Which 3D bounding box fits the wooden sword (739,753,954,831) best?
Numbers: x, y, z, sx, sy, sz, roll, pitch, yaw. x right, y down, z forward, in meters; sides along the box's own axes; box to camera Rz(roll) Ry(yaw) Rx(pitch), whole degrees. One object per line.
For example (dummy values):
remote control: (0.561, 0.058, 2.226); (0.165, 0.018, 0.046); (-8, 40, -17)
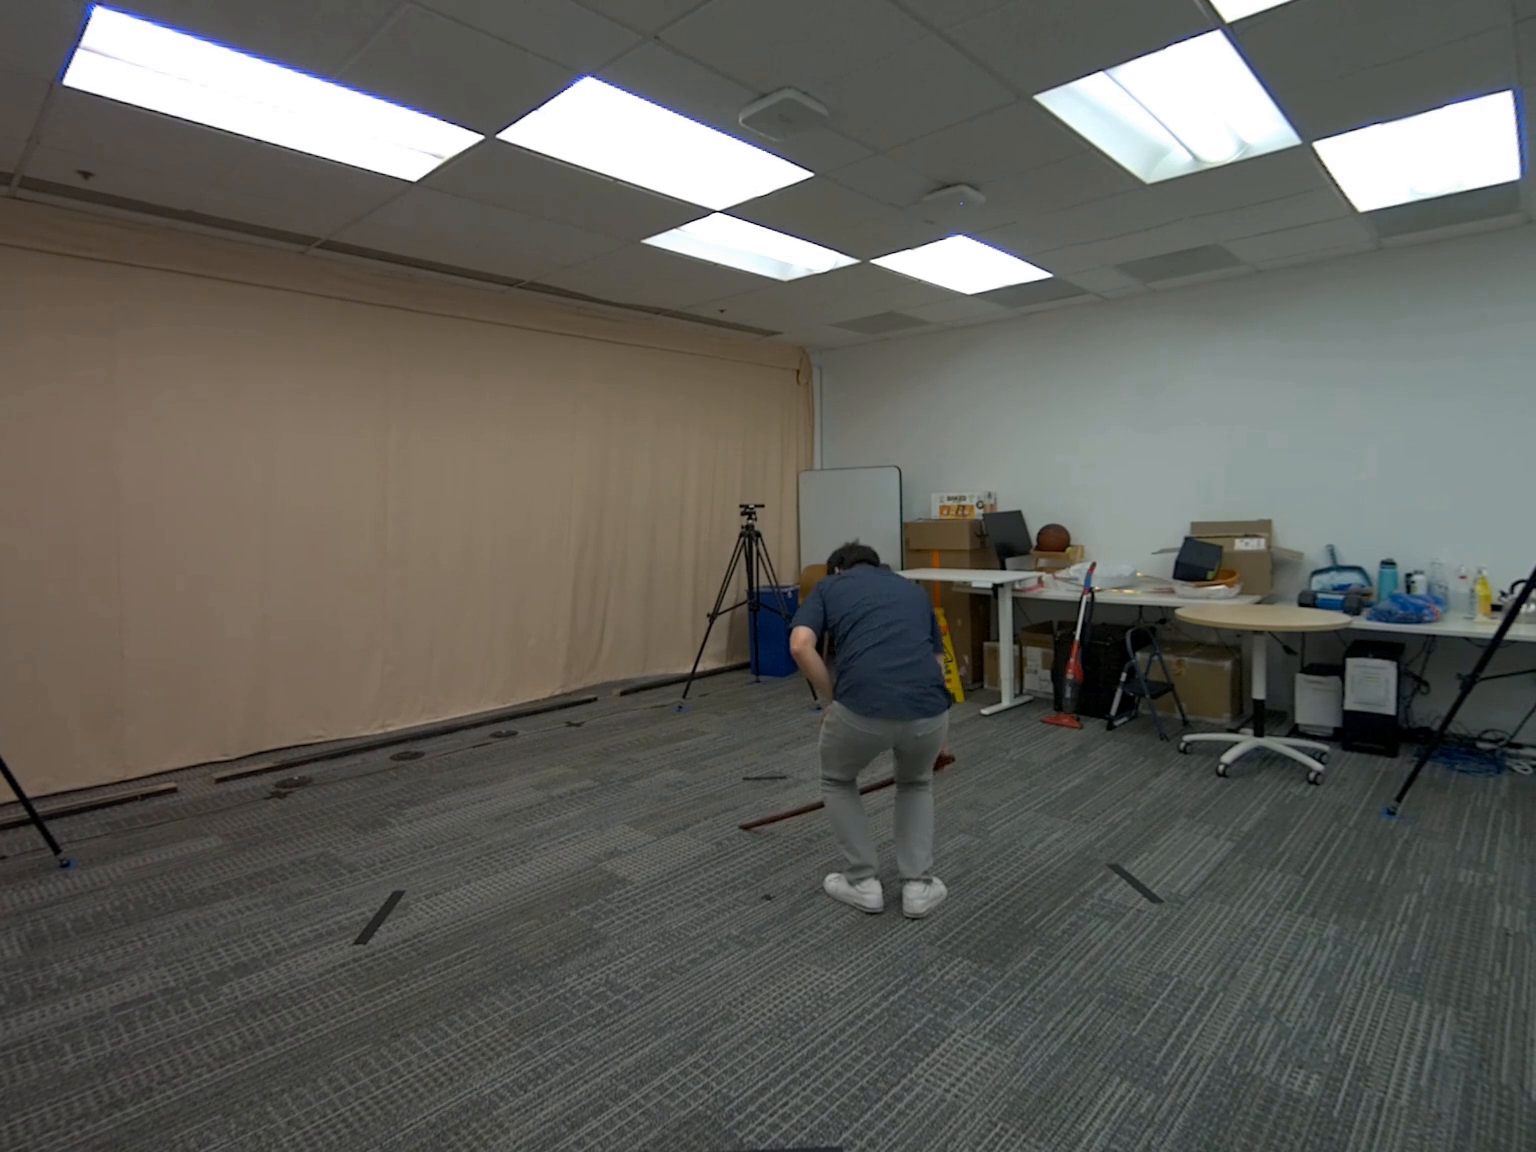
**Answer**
wooden sword: (0.288, 0.887, 3.369); (1.043, 0.024, 0.049); (-25, -27, 30)
